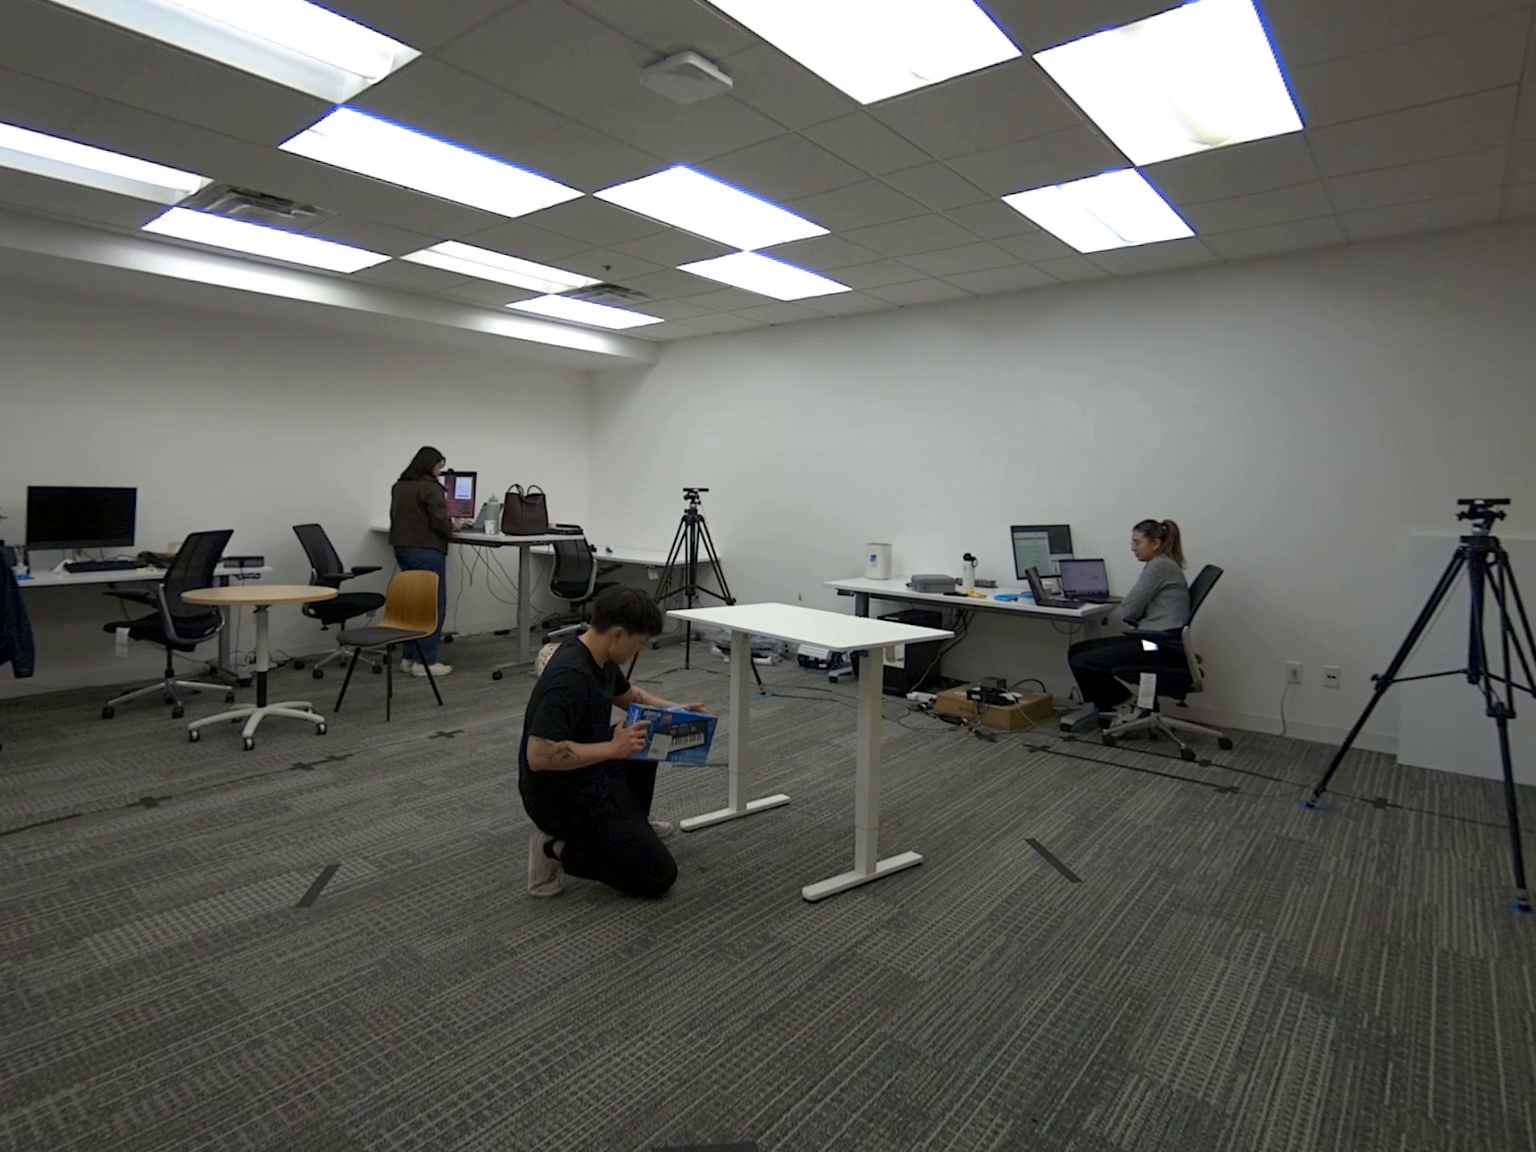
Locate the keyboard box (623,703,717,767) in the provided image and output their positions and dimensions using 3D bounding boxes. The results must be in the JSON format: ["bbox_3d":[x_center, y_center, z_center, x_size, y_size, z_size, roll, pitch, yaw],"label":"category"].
[{"bbox_3d":[-0.352,0.549,2.914,0.061,0.176,0.420,12,-5,35],"label":"keyboard box"}]
